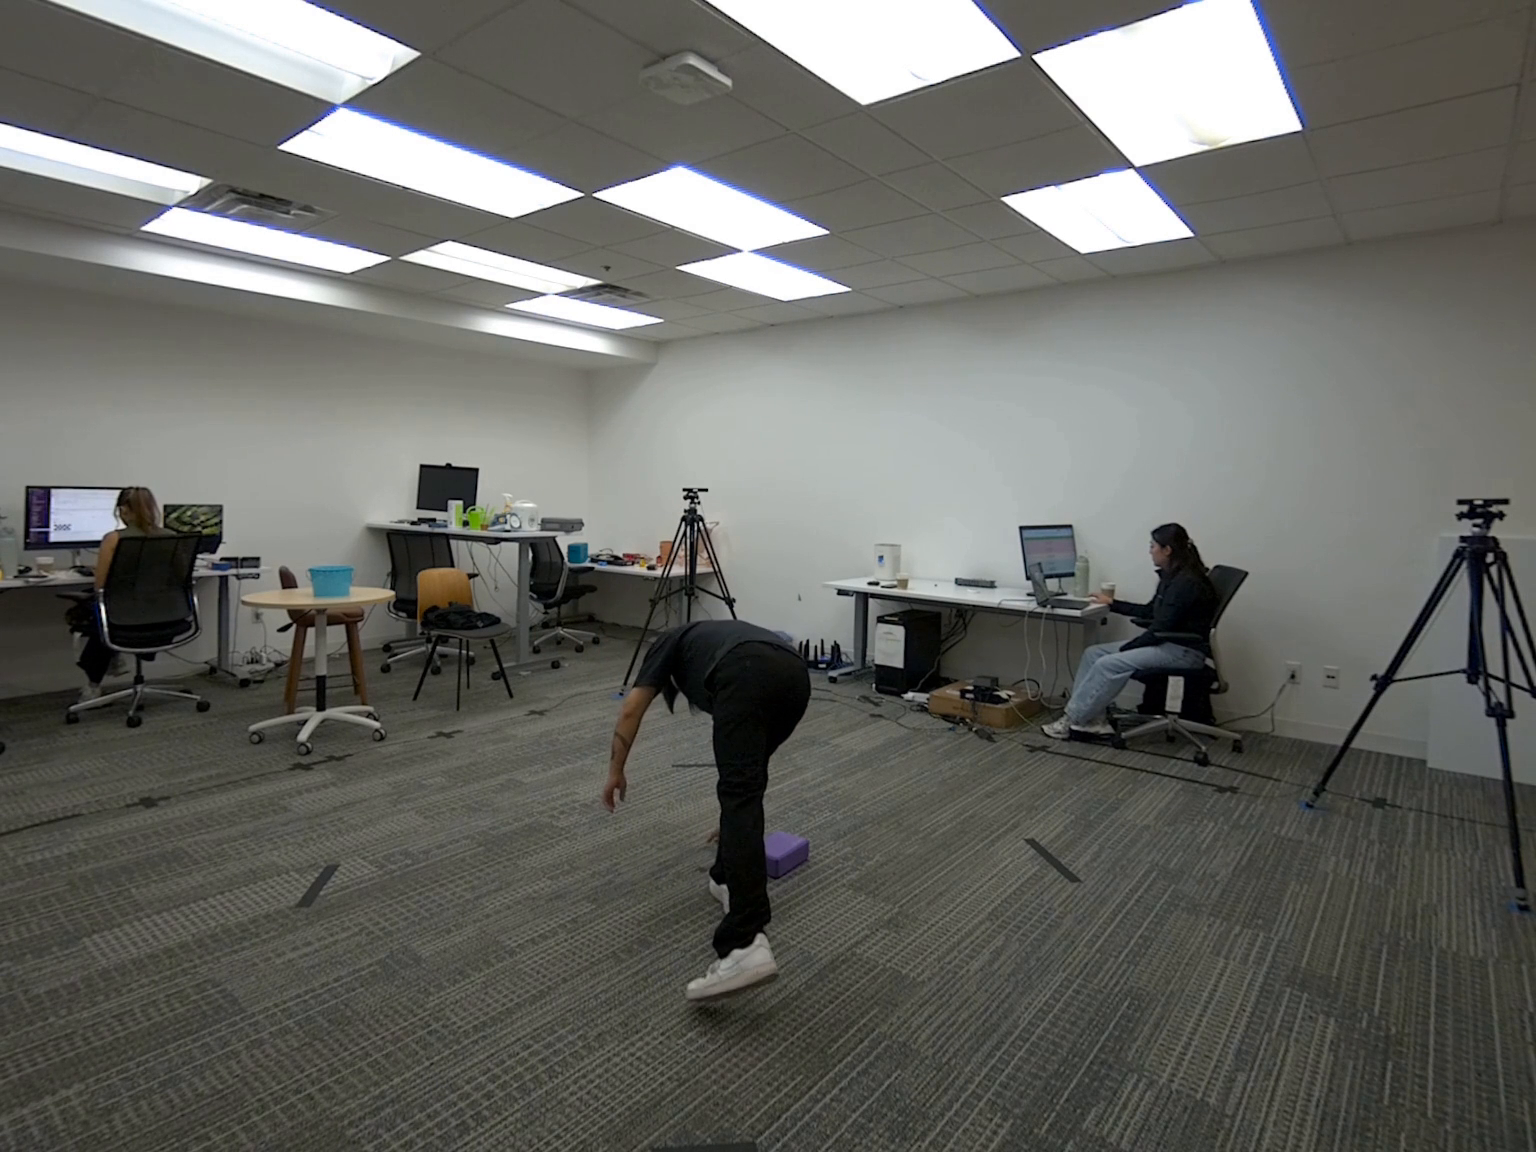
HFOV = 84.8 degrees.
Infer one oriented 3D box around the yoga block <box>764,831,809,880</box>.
[{"bbox_3d":[0.030,1.028,3.170,0.154,0.076,0.223,5,6,33],"label":"yoga block"}]
